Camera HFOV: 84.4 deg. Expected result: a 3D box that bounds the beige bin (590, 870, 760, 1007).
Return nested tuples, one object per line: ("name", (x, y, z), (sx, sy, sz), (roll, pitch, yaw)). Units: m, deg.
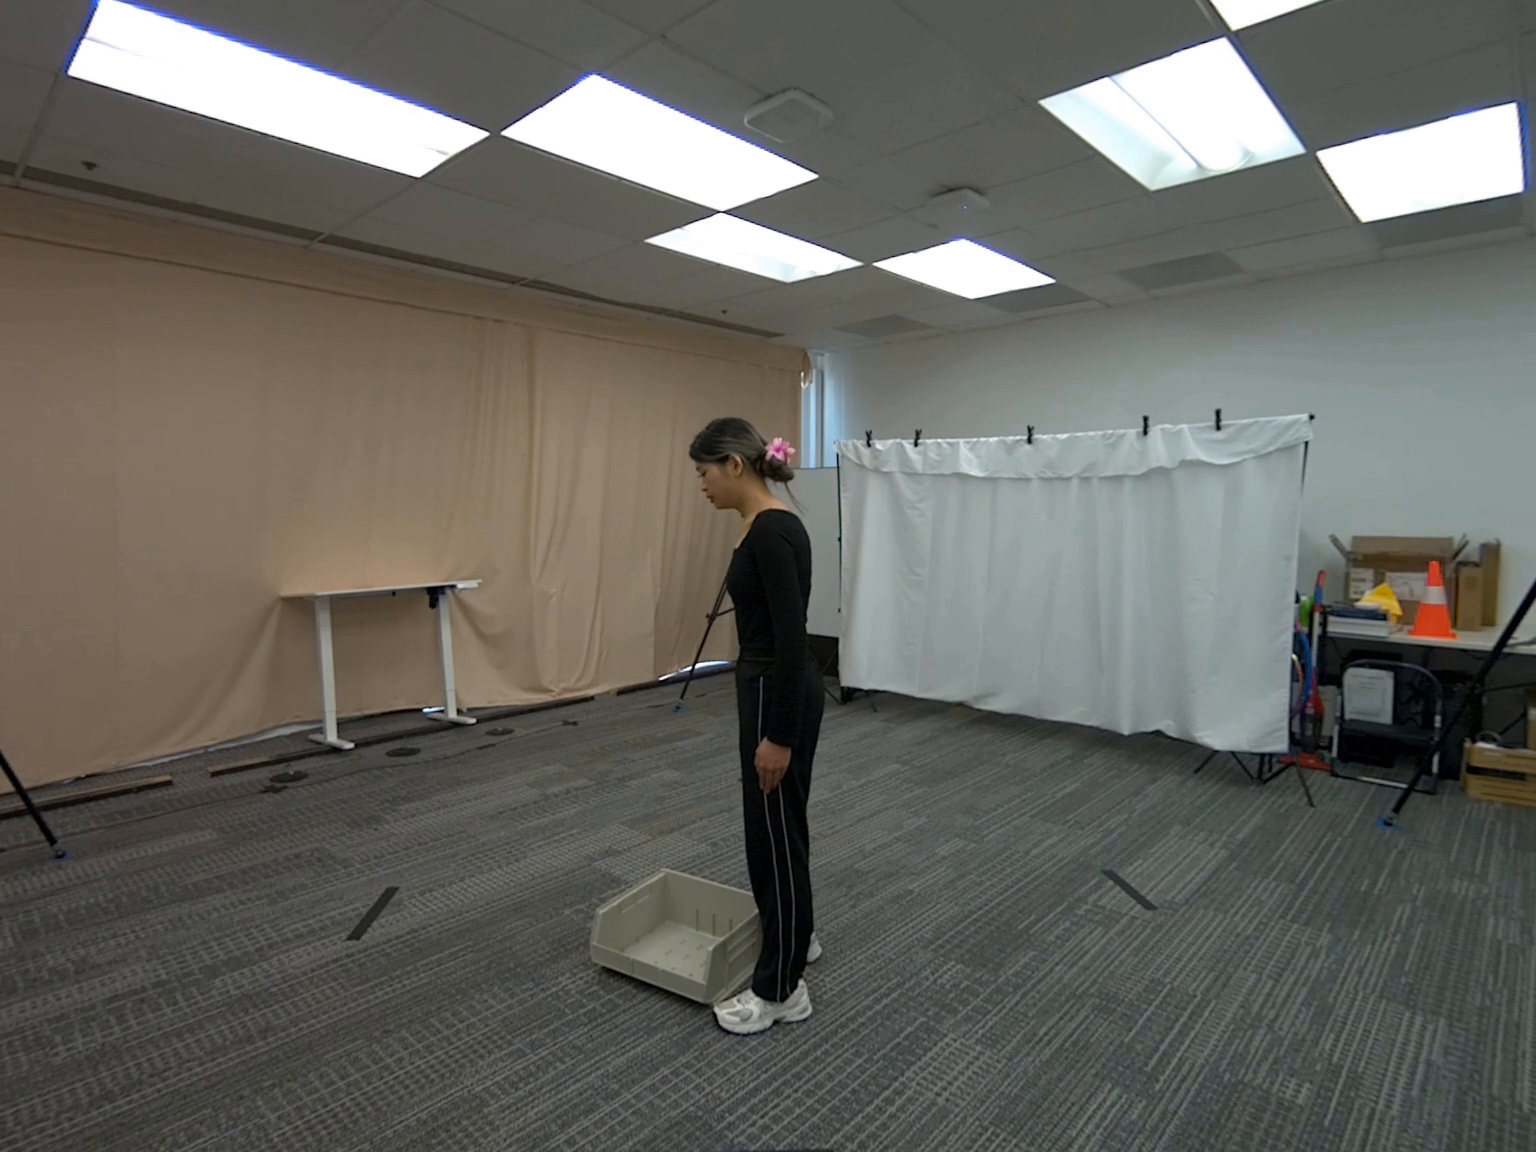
("beige bin", (-0.258, 1.091, 2.554), (0.435, 0.188, 0.367), (3, 4, 32))
